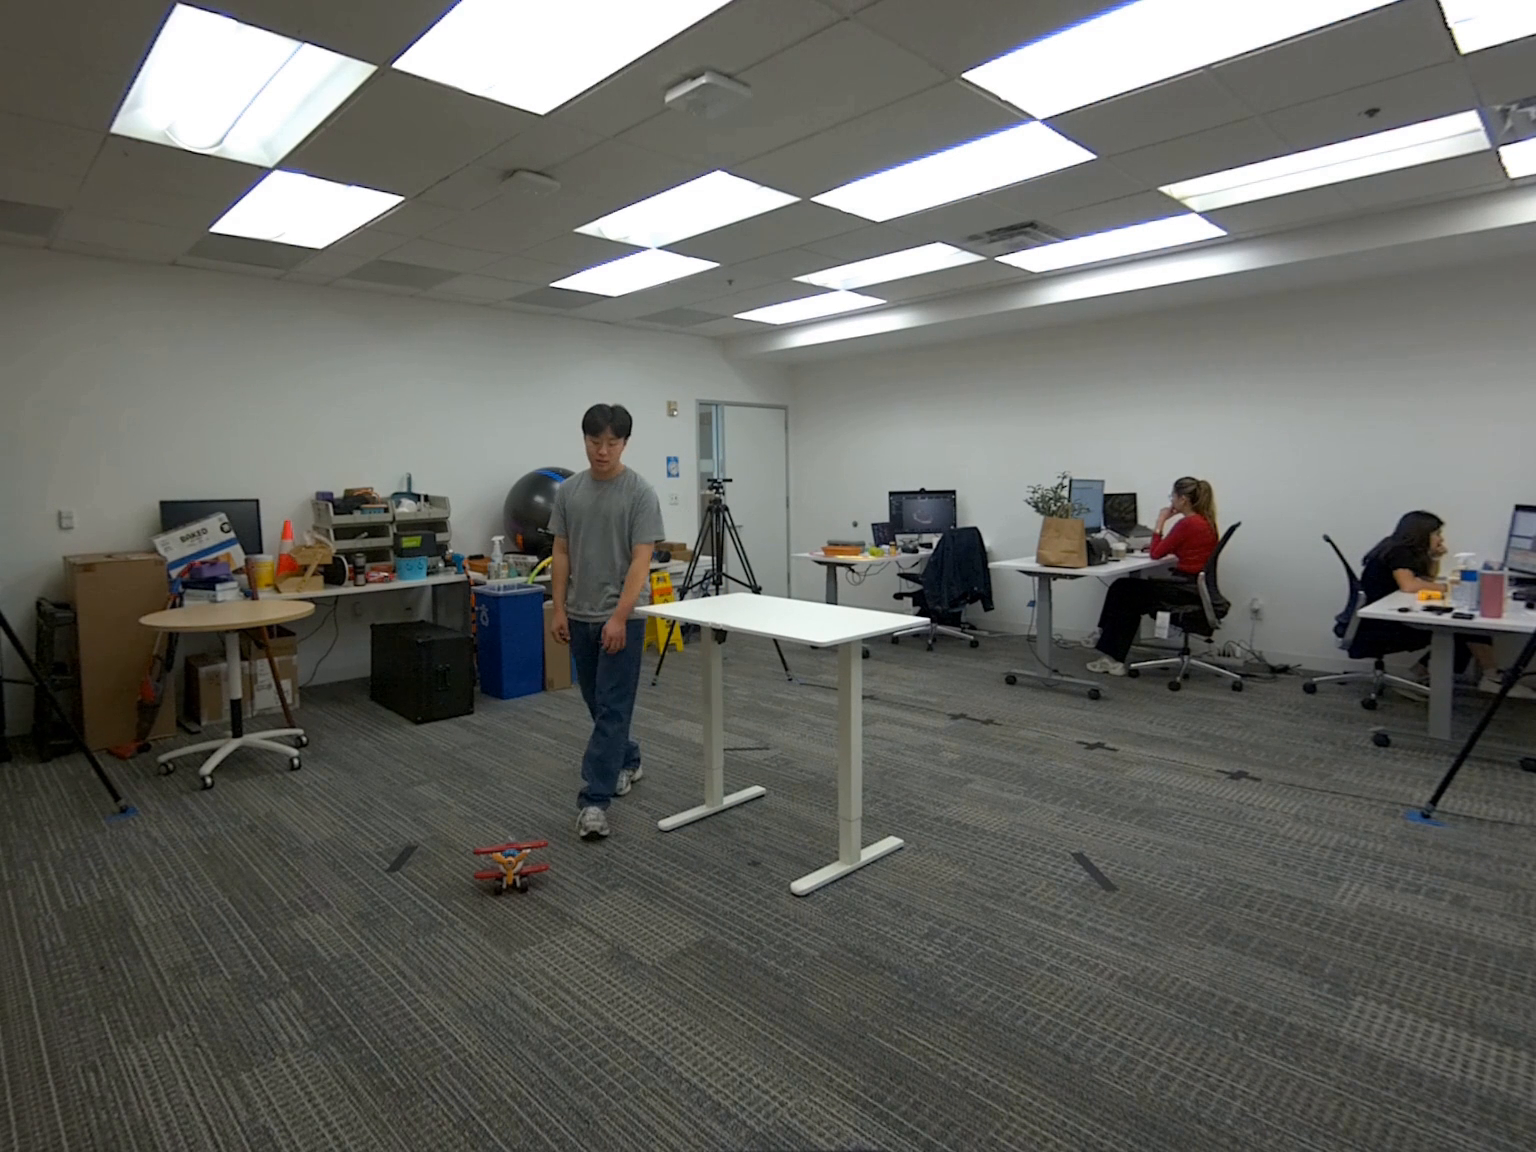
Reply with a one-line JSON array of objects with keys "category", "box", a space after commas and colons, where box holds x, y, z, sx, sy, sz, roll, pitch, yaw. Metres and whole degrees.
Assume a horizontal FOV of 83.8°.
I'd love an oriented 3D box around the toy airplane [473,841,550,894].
[{"category": "toy airplane", "box": [-0.925, 1.008, 2.999, 0.244, 0.156, 0.267, -6, 8, -41]}]
